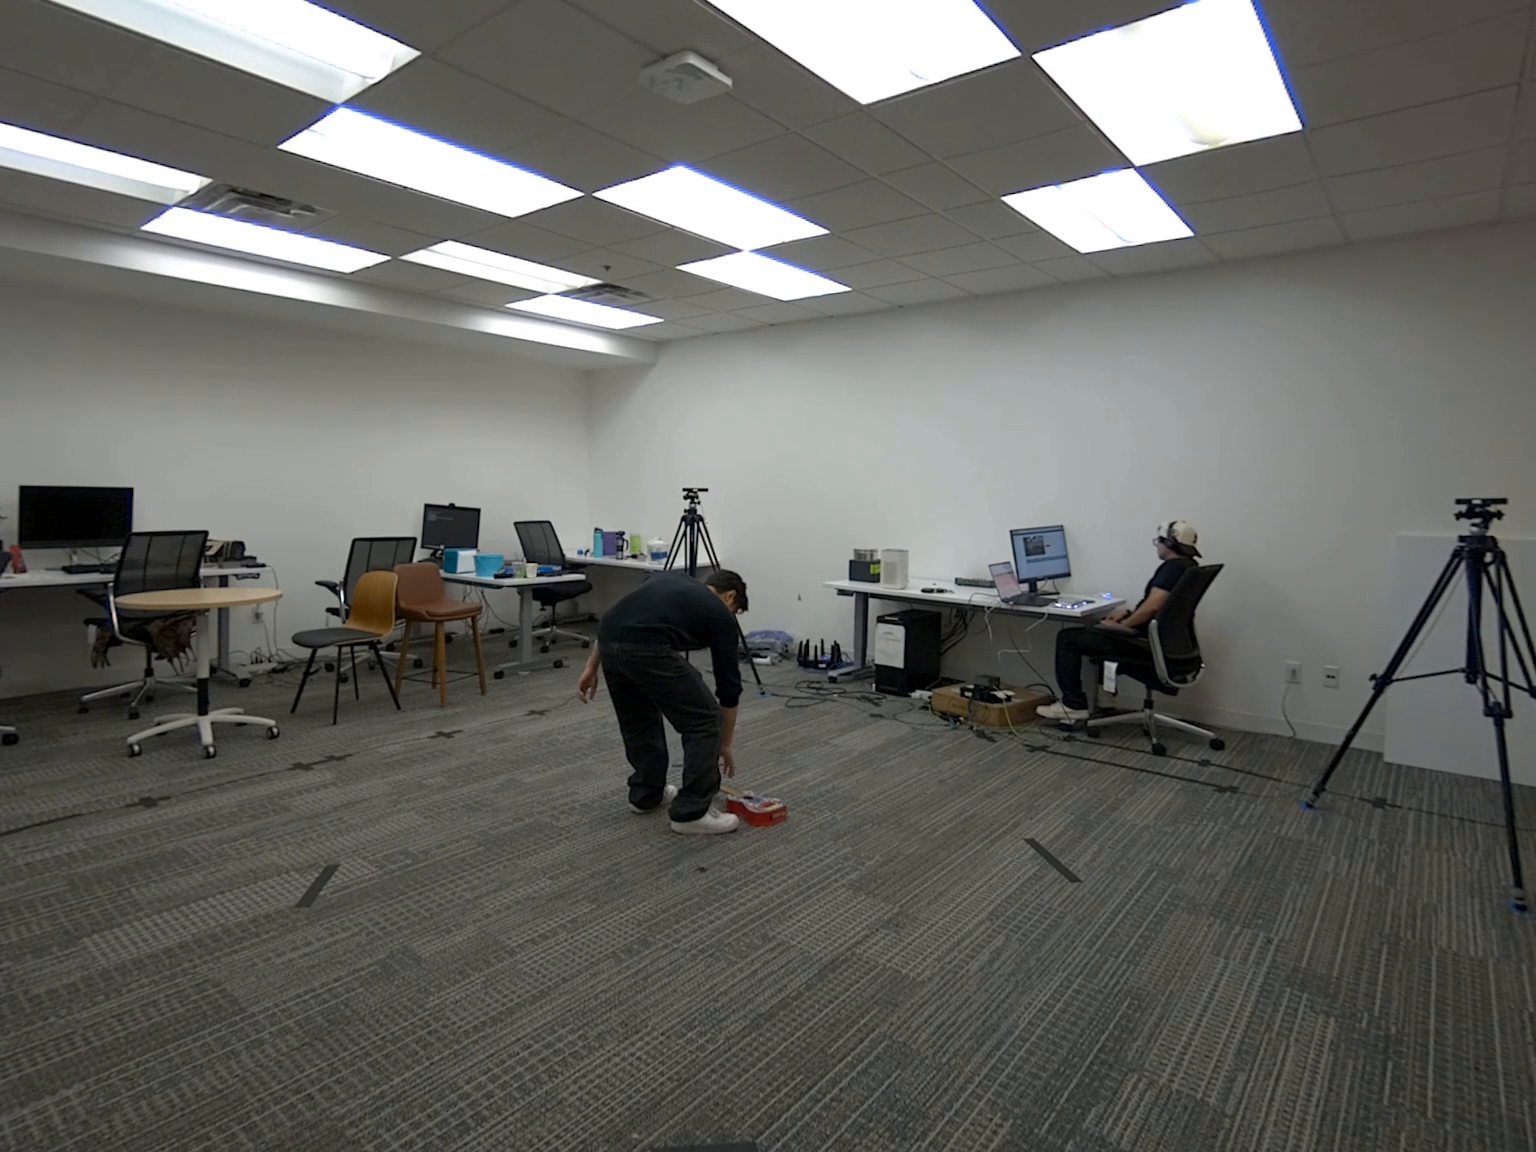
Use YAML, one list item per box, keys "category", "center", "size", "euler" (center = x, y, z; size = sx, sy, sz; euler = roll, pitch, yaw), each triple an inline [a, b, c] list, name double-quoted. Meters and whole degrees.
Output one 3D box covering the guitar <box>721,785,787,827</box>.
- category: "guitar"
  center: [-0.128, 0.980, 3.754]
  size: [0.187, 0.070, 0.515]
  euler: [-3, 7, -37]
